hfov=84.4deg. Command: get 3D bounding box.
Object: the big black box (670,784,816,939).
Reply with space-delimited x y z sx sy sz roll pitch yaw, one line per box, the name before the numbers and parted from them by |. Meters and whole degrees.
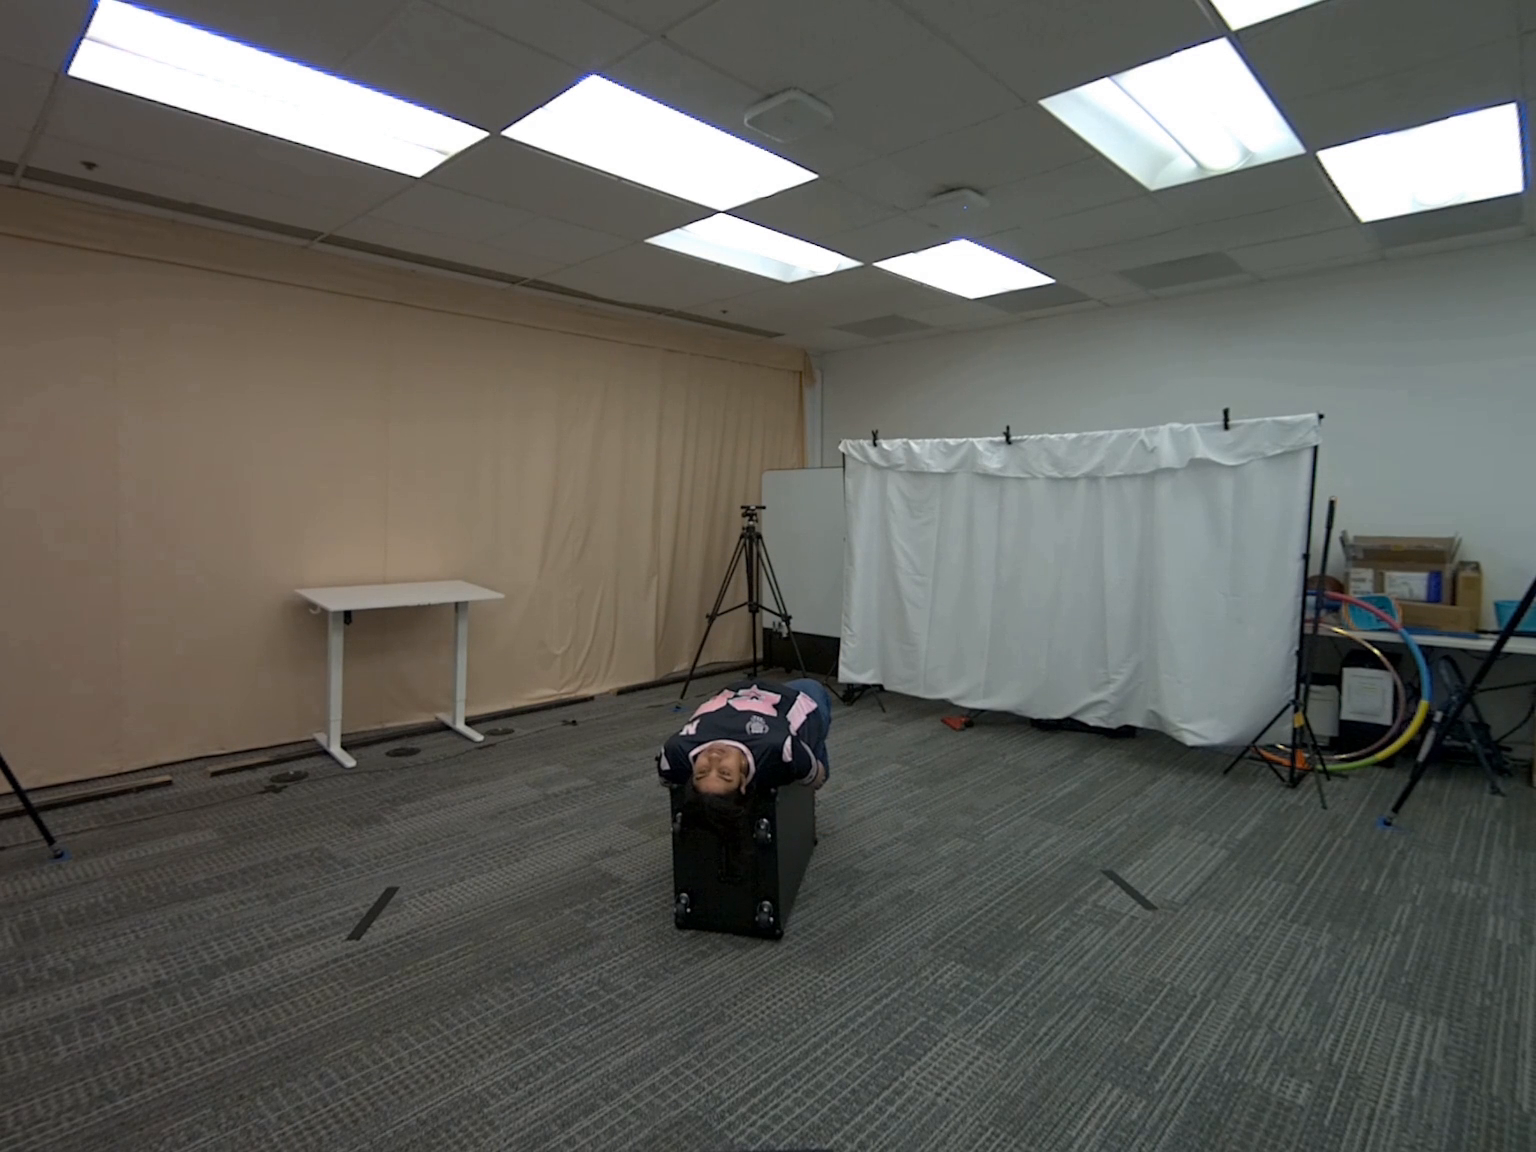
big black box | -0.070 0.882 3.051 0.391 0.522 0.857 2 5 13
